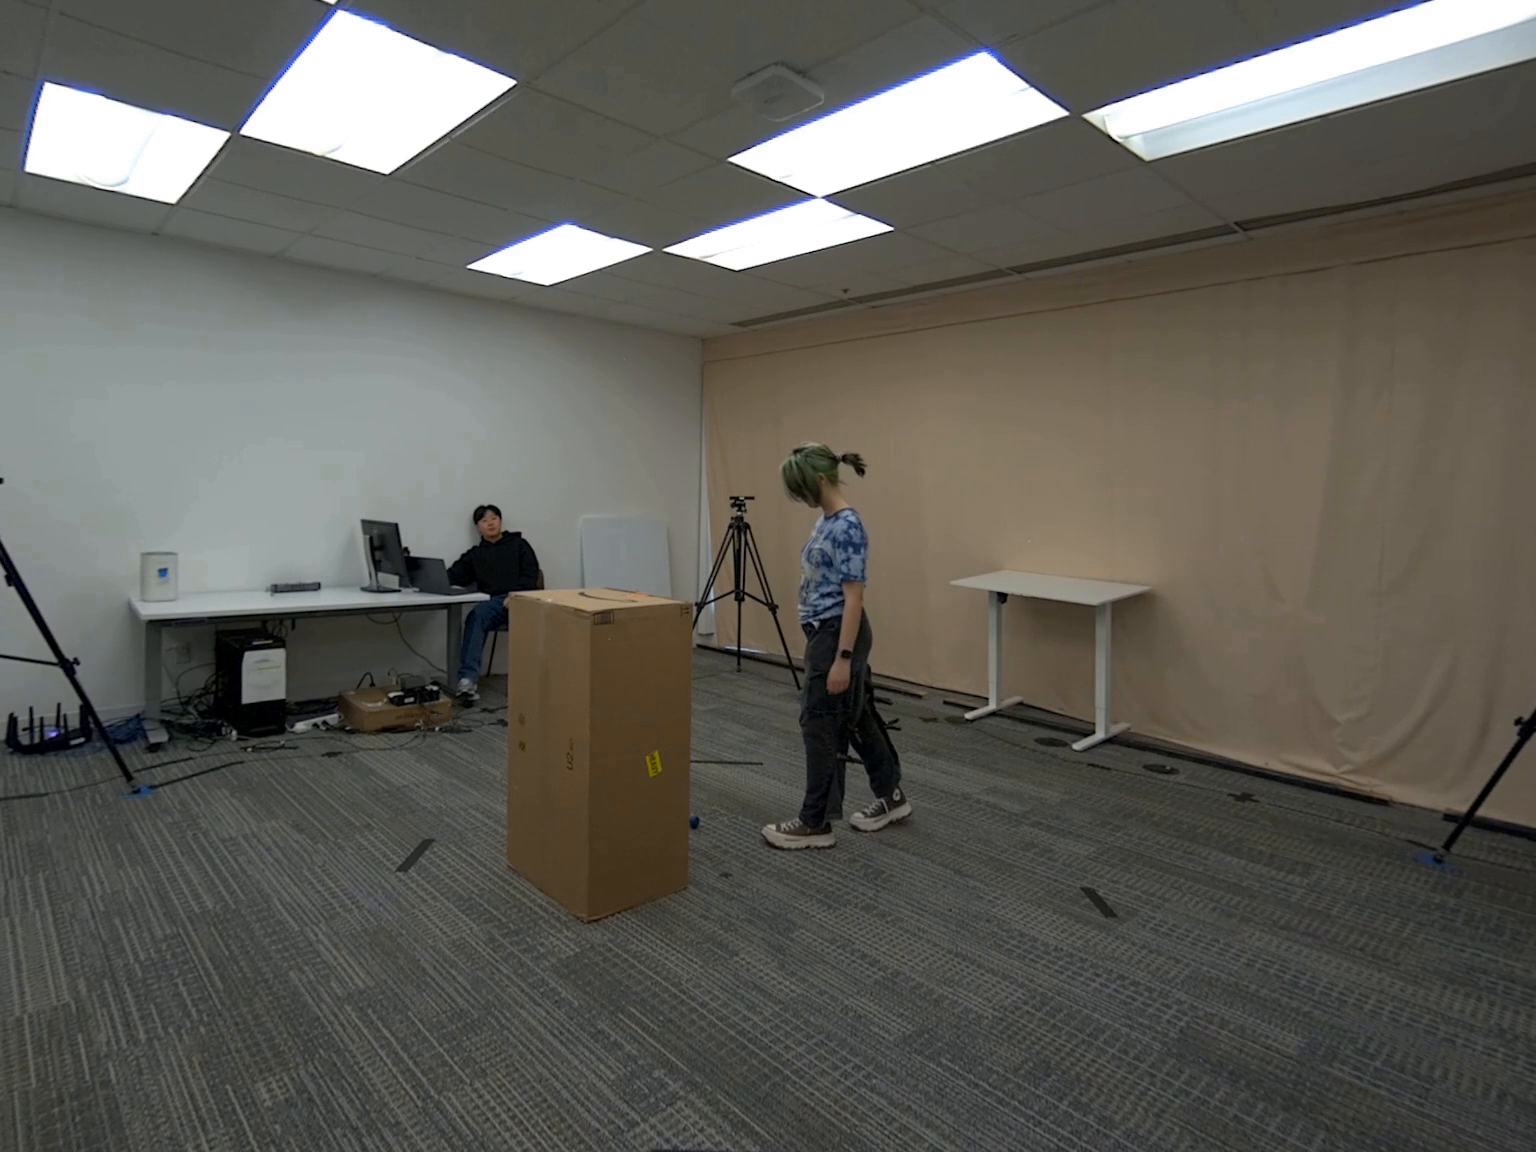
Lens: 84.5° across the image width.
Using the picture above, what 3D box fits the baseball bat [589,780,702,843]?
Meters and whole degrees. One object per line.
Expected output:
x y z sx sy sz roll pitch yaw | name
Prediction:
-0.544 1.018 3.689 0.556 0.089 0.087 9 8 31 | baseball bat
